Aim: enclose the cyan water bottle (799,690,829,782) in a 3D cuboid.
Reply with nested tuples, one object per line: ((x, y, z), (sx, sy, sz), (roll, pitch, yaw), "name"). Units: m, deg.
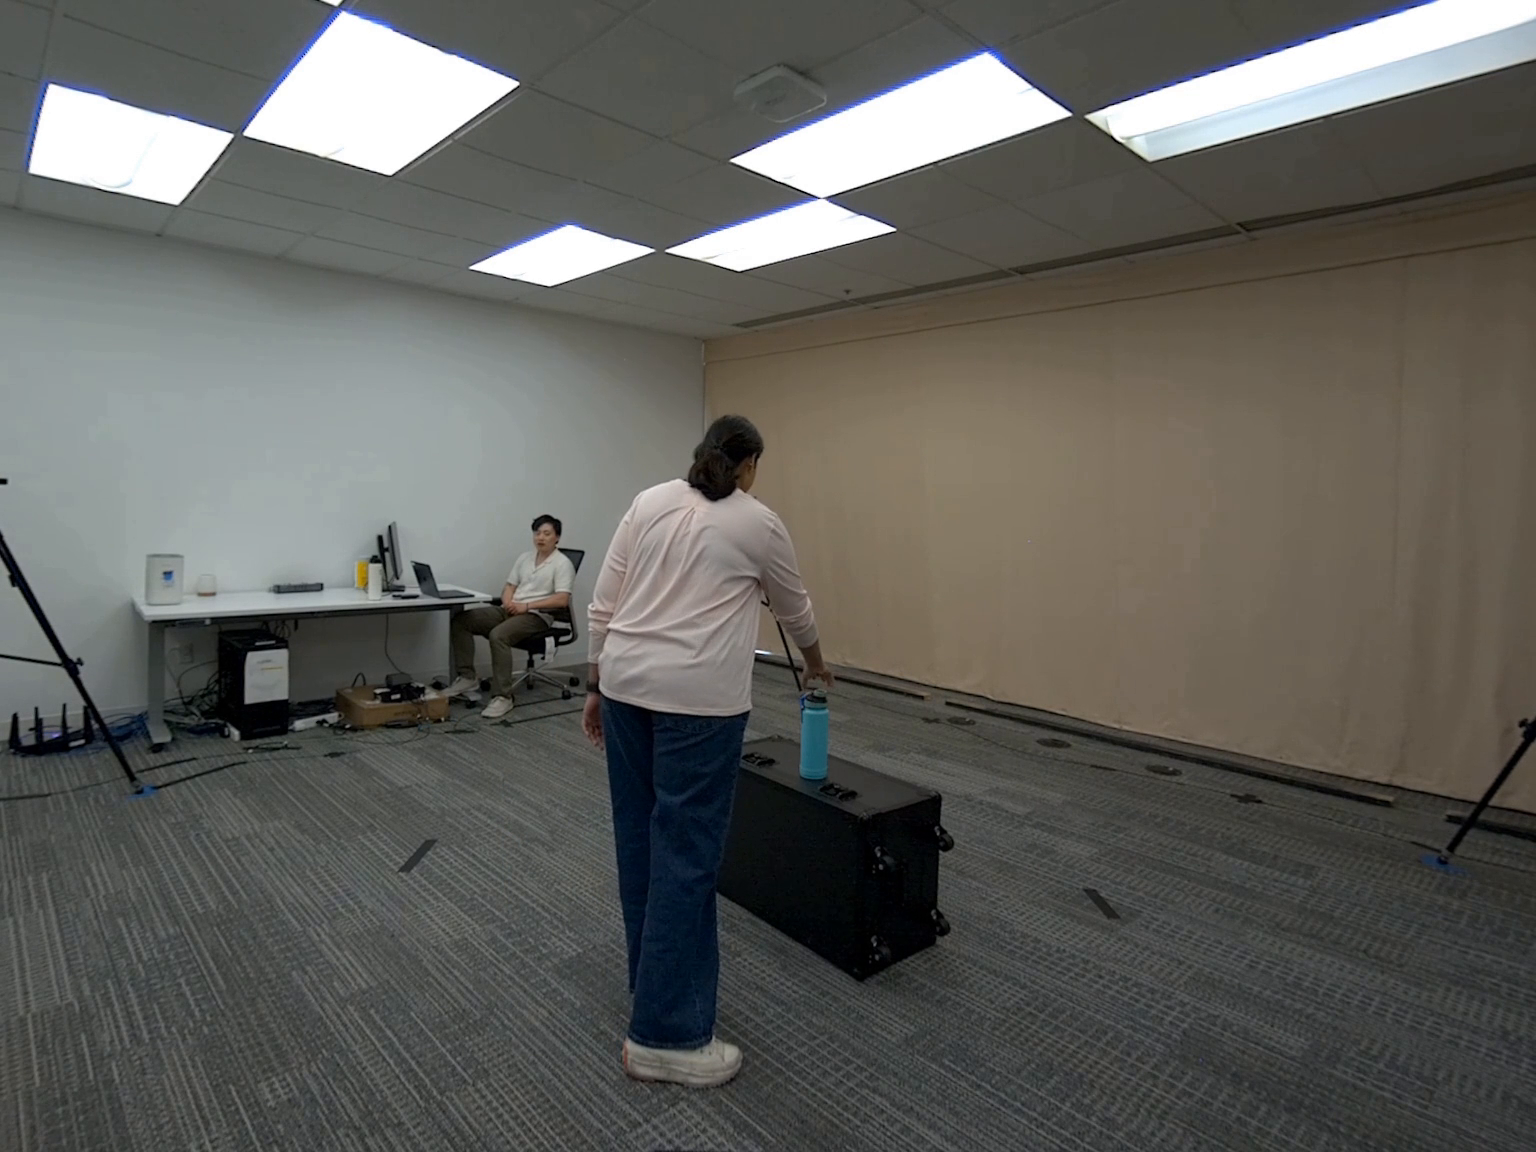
((0.147, 0.524, 2.775), (0.092, 0.282, 0.092), (0, 4, -1), "cyan water bottle")
